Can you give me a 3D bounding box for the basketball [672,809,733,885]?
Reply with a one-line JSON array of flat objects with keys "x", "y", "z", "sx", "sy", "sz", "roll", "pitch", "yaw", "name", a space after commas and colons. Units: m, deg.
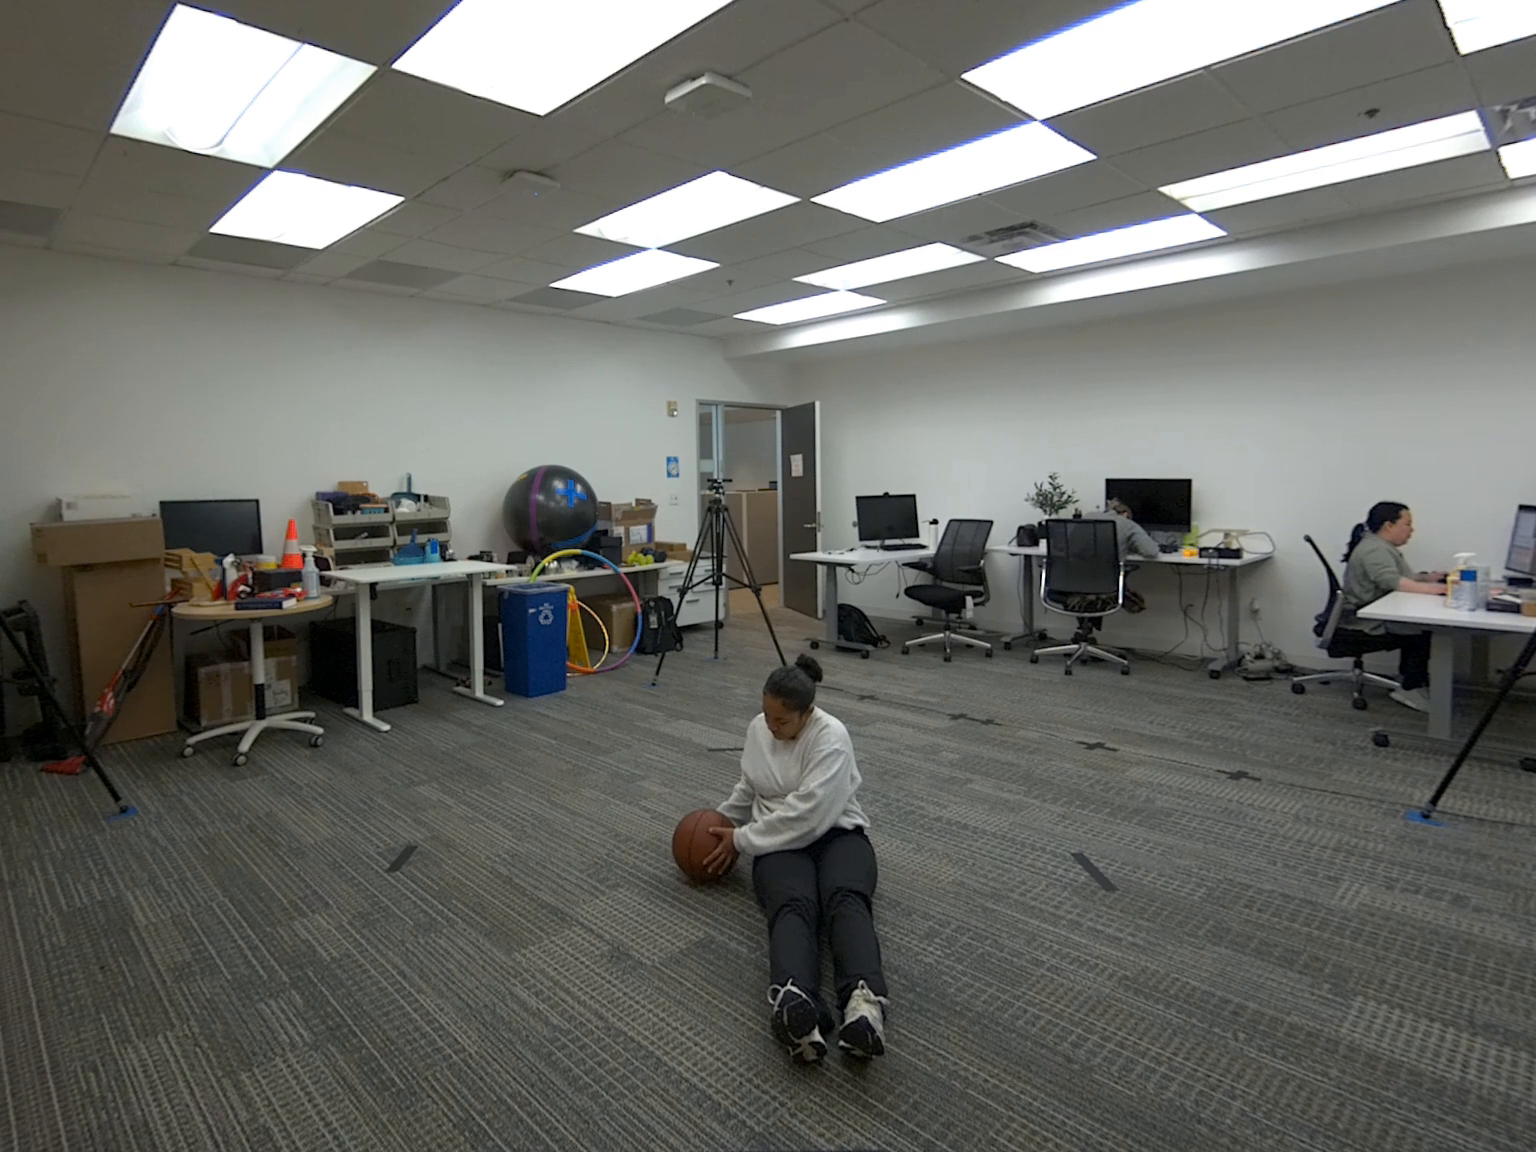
[{"x": -0.213, "y": 0.931, "z": 2.983, "sx": 0.236, "sy": 0.235, "sz": 0.237, "roll": -1, "pitch": 5, "yaw": -2, "name": "basketball"}]
